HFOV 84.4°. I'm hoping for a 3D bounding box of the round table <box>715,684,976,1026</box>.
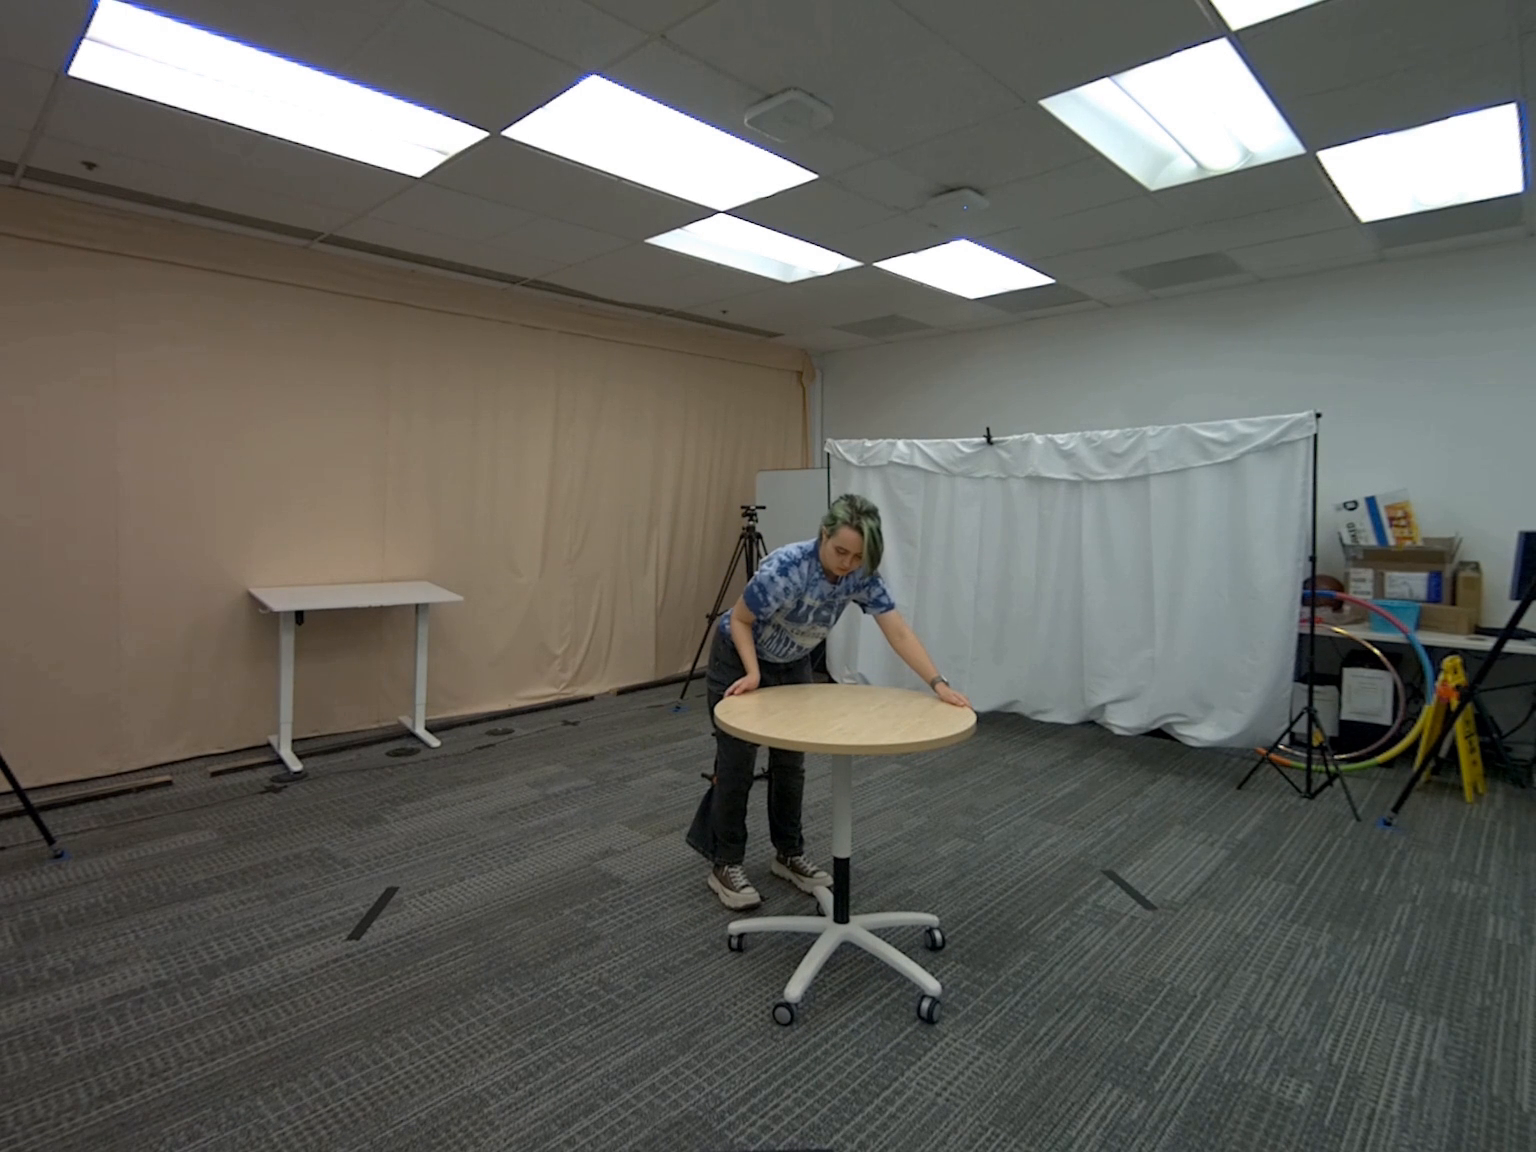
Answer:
[{"bbox_3d":[0.229,0.795,2.527,0.763,0.792,0.767,0,4,-2],"label":"round table"}]
